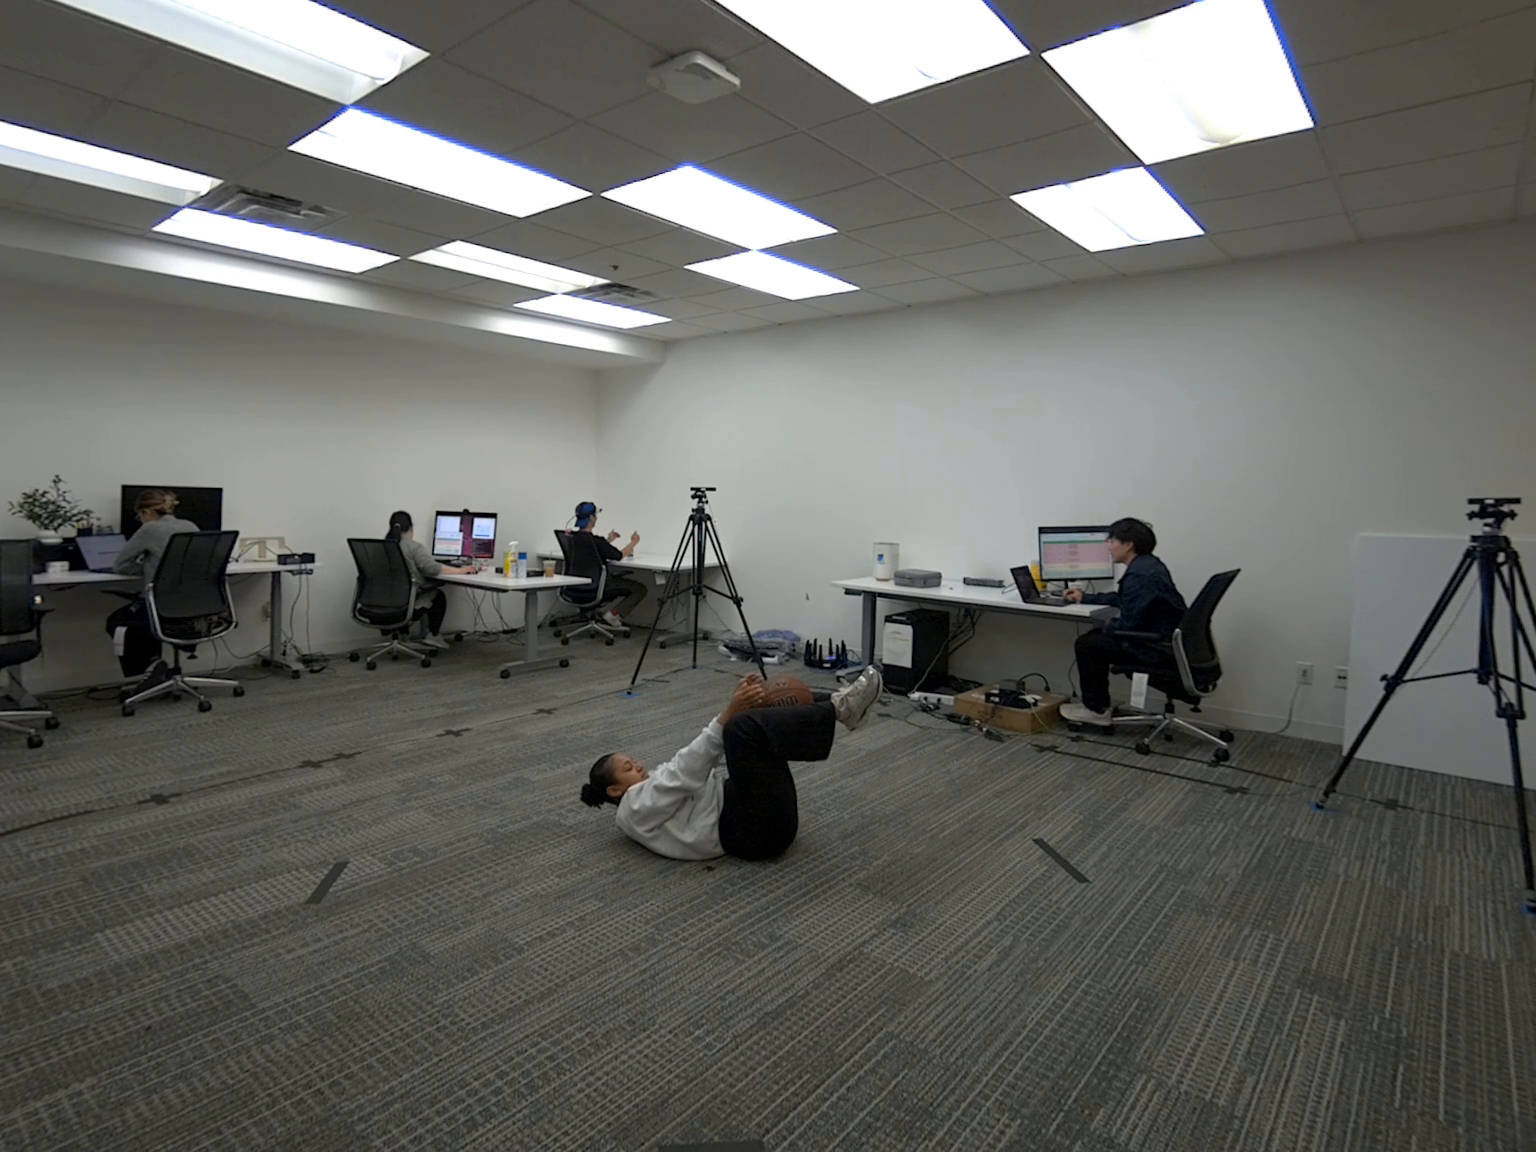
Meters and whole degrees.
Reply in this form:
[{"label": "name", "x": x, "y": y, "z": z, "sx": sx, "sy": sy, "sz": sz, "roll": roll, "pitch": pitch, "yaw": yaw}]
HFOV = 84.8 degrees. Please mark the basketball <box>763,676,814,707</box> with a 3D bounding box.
[{"label": "basketball", "x": 0.046, "y": 0.499, "z": 3.314, "sx": 0.236, "sy": 0.235, "sz": 0.237, "roll": 0, "pitch": 4, "yaw": -2}]
